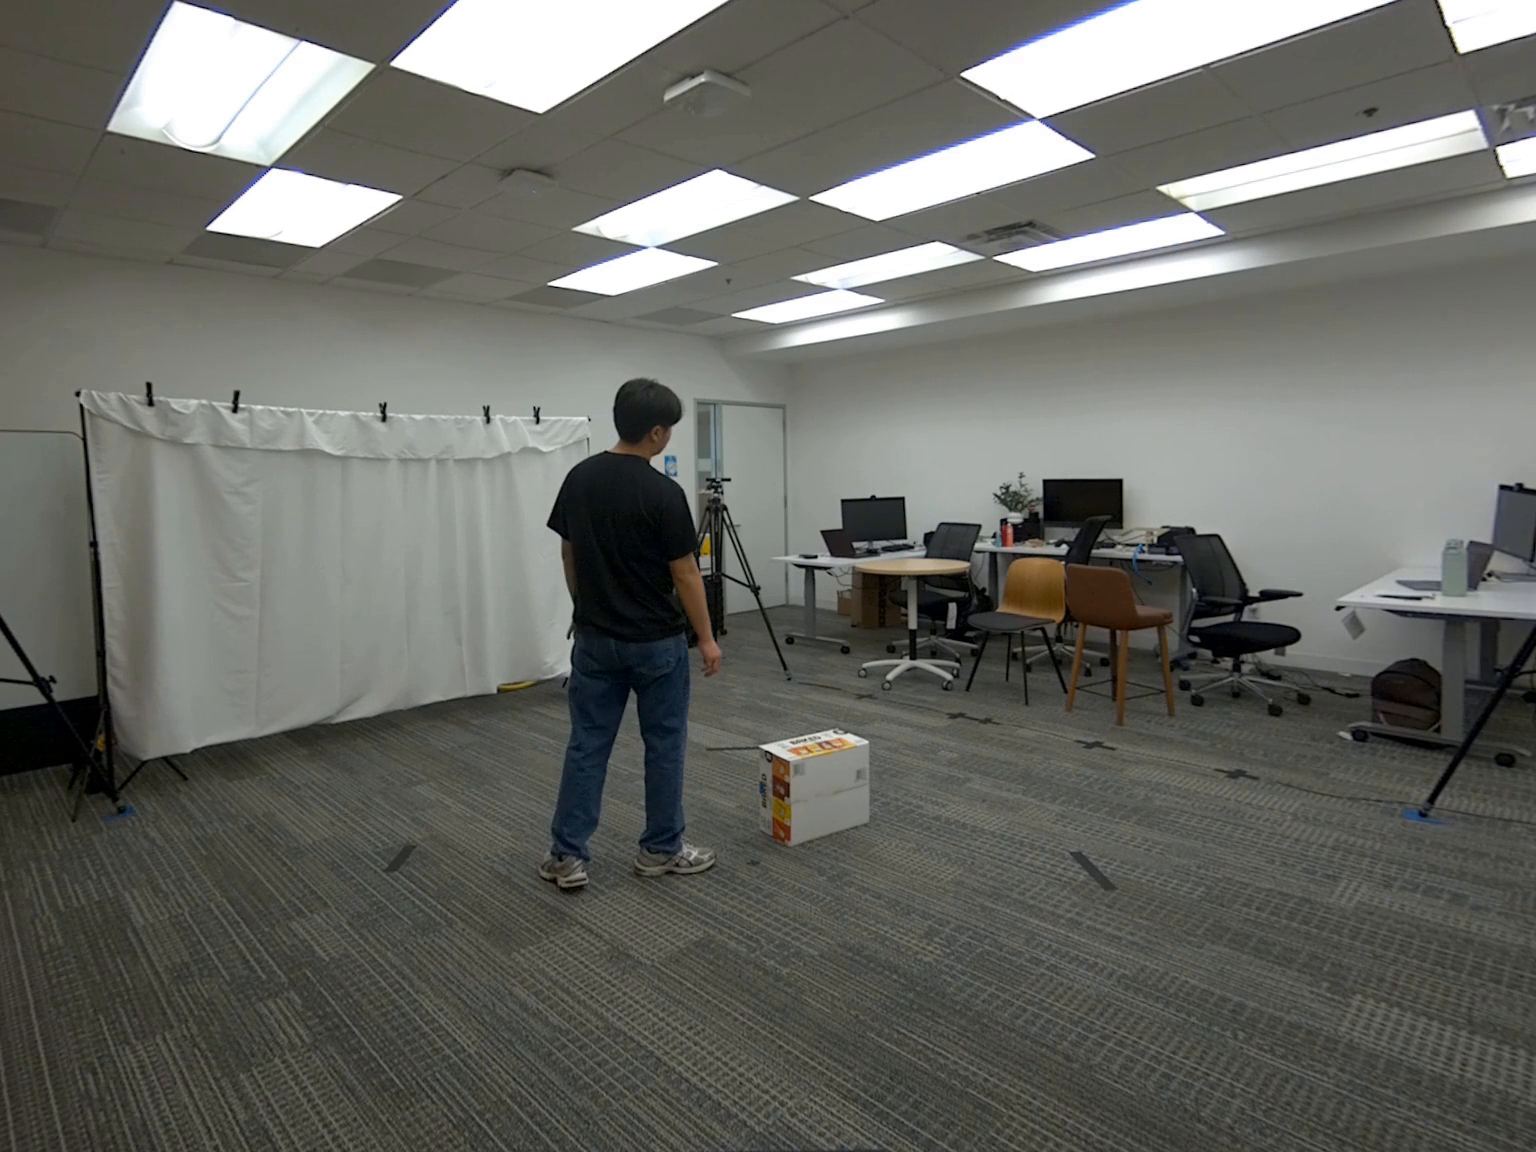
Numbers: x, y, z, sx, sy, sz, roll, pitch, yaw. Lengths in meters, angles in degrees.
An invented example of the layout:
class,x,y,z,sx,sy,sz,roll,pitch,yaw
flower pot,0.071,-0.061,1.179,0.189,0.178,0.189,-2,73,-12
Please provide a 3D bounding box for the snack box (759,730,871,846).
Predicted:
class,x,y,z,sx,sy,sz,roll,pitch,yaw
snack box,0.191,0.834,3.410,0.395,0.338,0.212,-5,7,-33
